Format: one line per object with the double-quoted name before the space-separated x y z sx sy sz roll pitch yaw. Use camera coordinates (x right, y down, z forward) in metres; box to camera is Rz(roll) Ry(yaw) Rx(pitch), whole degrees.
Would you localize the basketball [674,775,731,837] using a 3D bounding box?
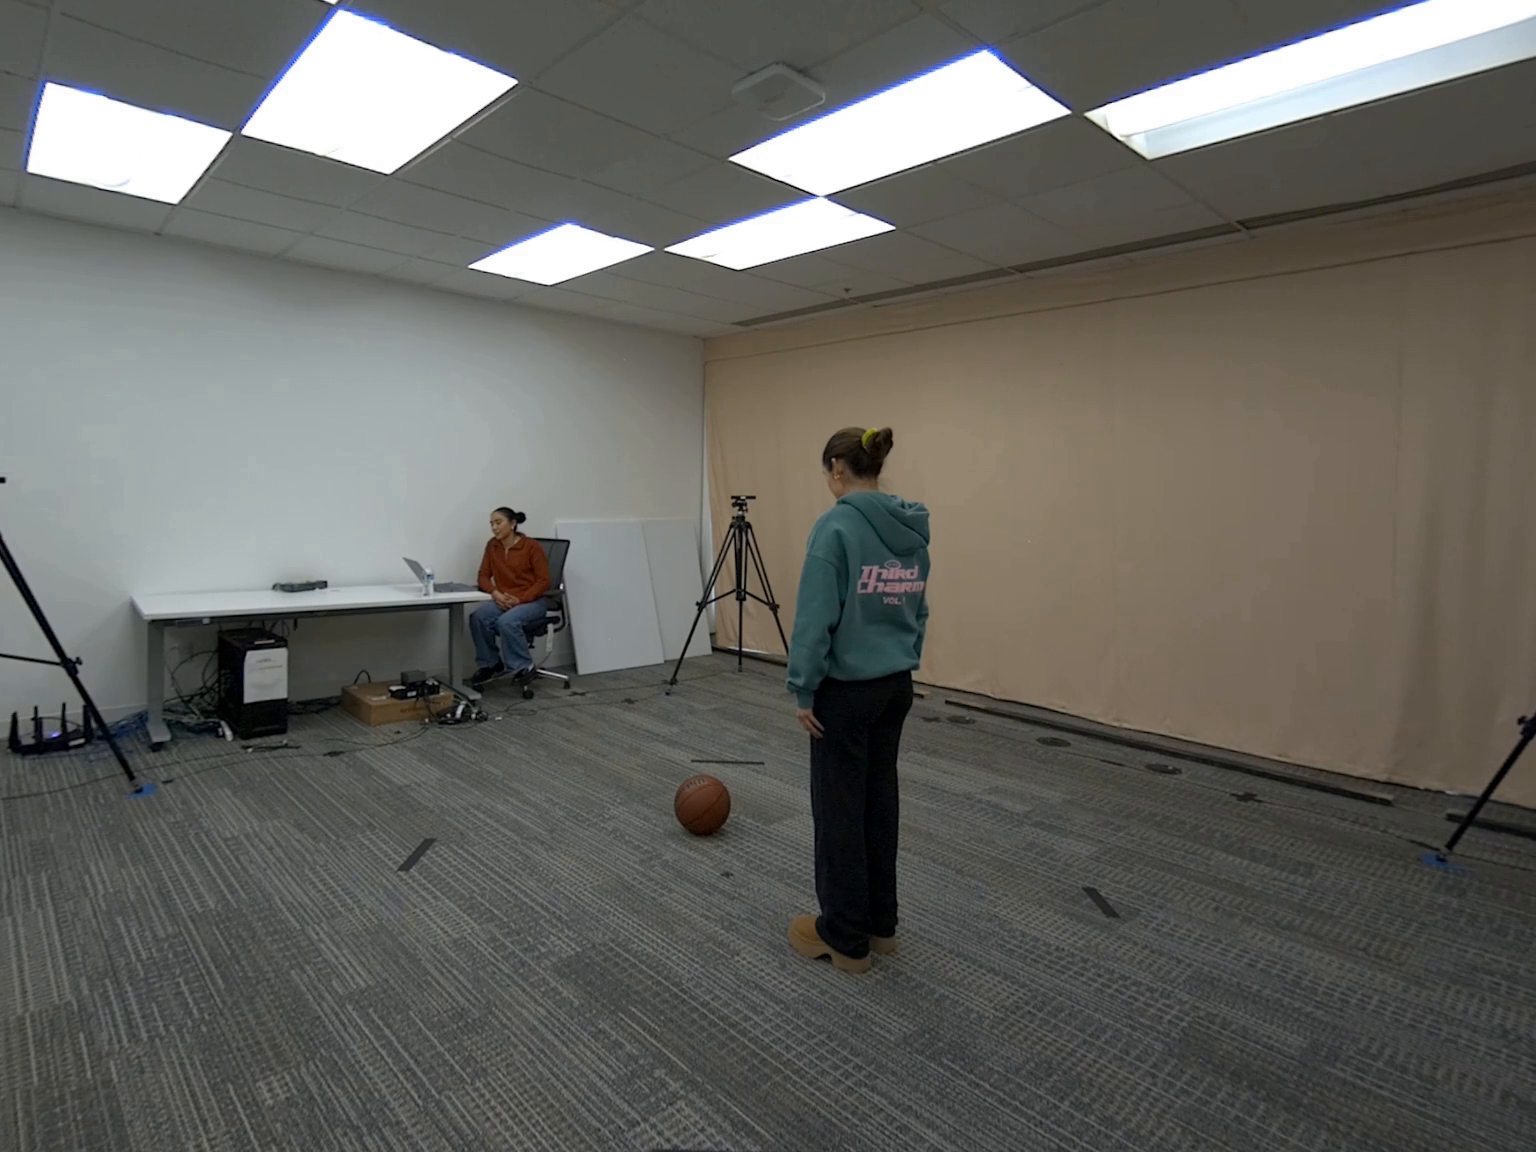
"basketball" -0.280 0.943 3.487 0.236 0.235 0.237 1 4 -1
